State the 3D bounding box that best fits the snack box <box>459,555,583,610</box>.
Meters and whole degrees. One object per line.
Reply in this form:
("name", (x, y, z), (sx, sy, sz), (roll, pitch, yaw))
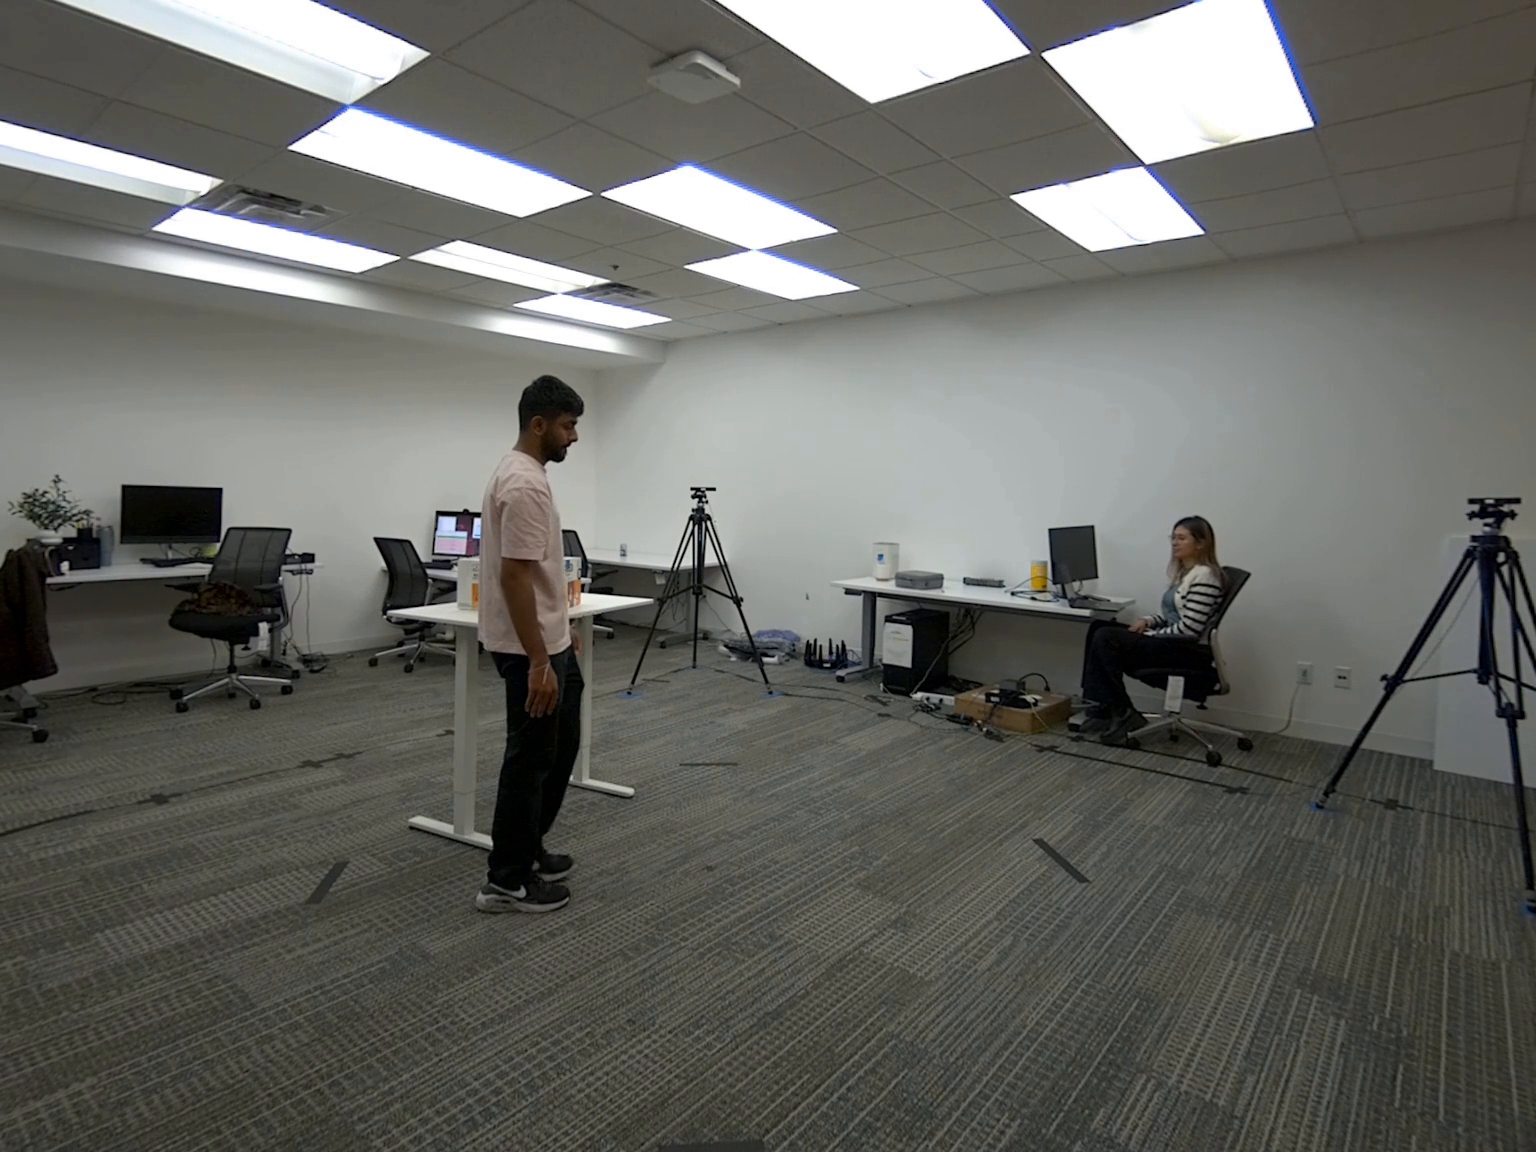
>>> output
("snack box", (-1.034, 0.023, 3.543), (0.409, 0.205, 0.338), (2, 4, 8))
